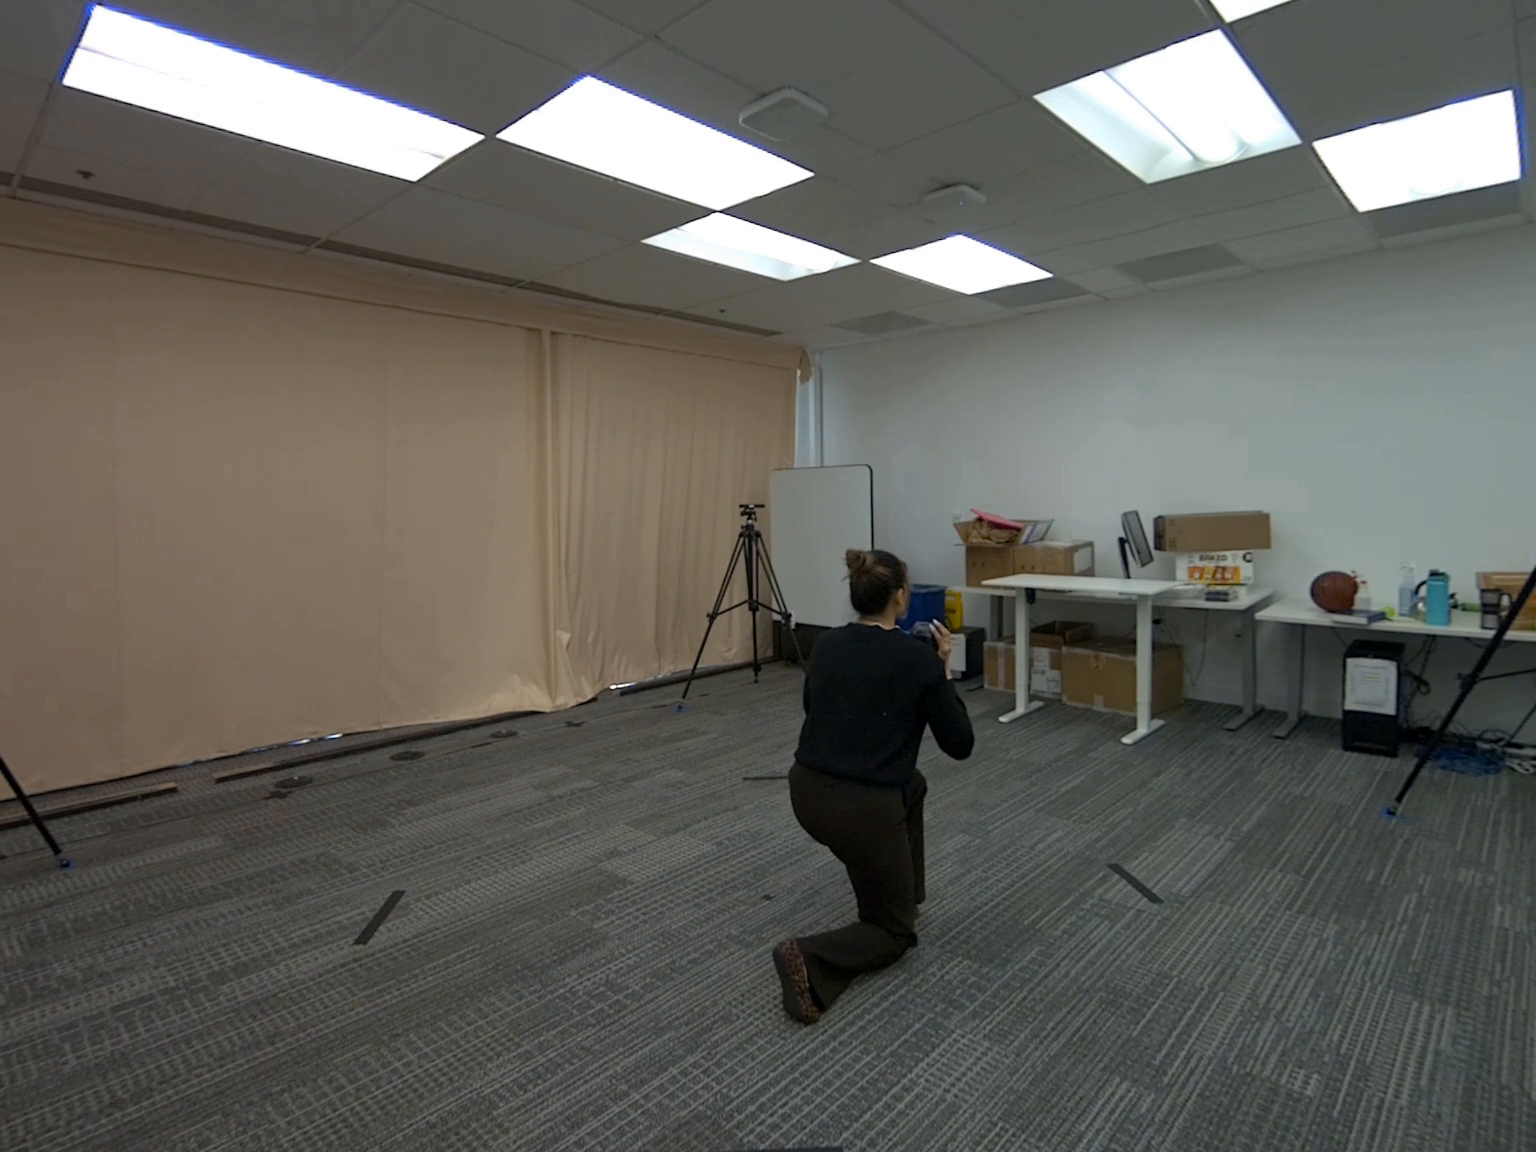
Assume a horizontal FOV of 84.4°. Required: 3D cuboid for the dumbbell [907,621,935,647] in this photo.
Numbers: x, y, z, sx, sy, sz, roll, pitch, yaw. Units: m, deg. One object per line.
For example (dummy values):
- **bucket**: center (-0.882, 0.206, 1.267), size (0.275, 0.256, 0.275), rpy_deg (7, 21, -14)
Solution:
- **dumbbell**: center (0.444, 0.203, 2.680), size (0.303, 0.106, 0.122), rpy_deg (-1, 32, 39)
